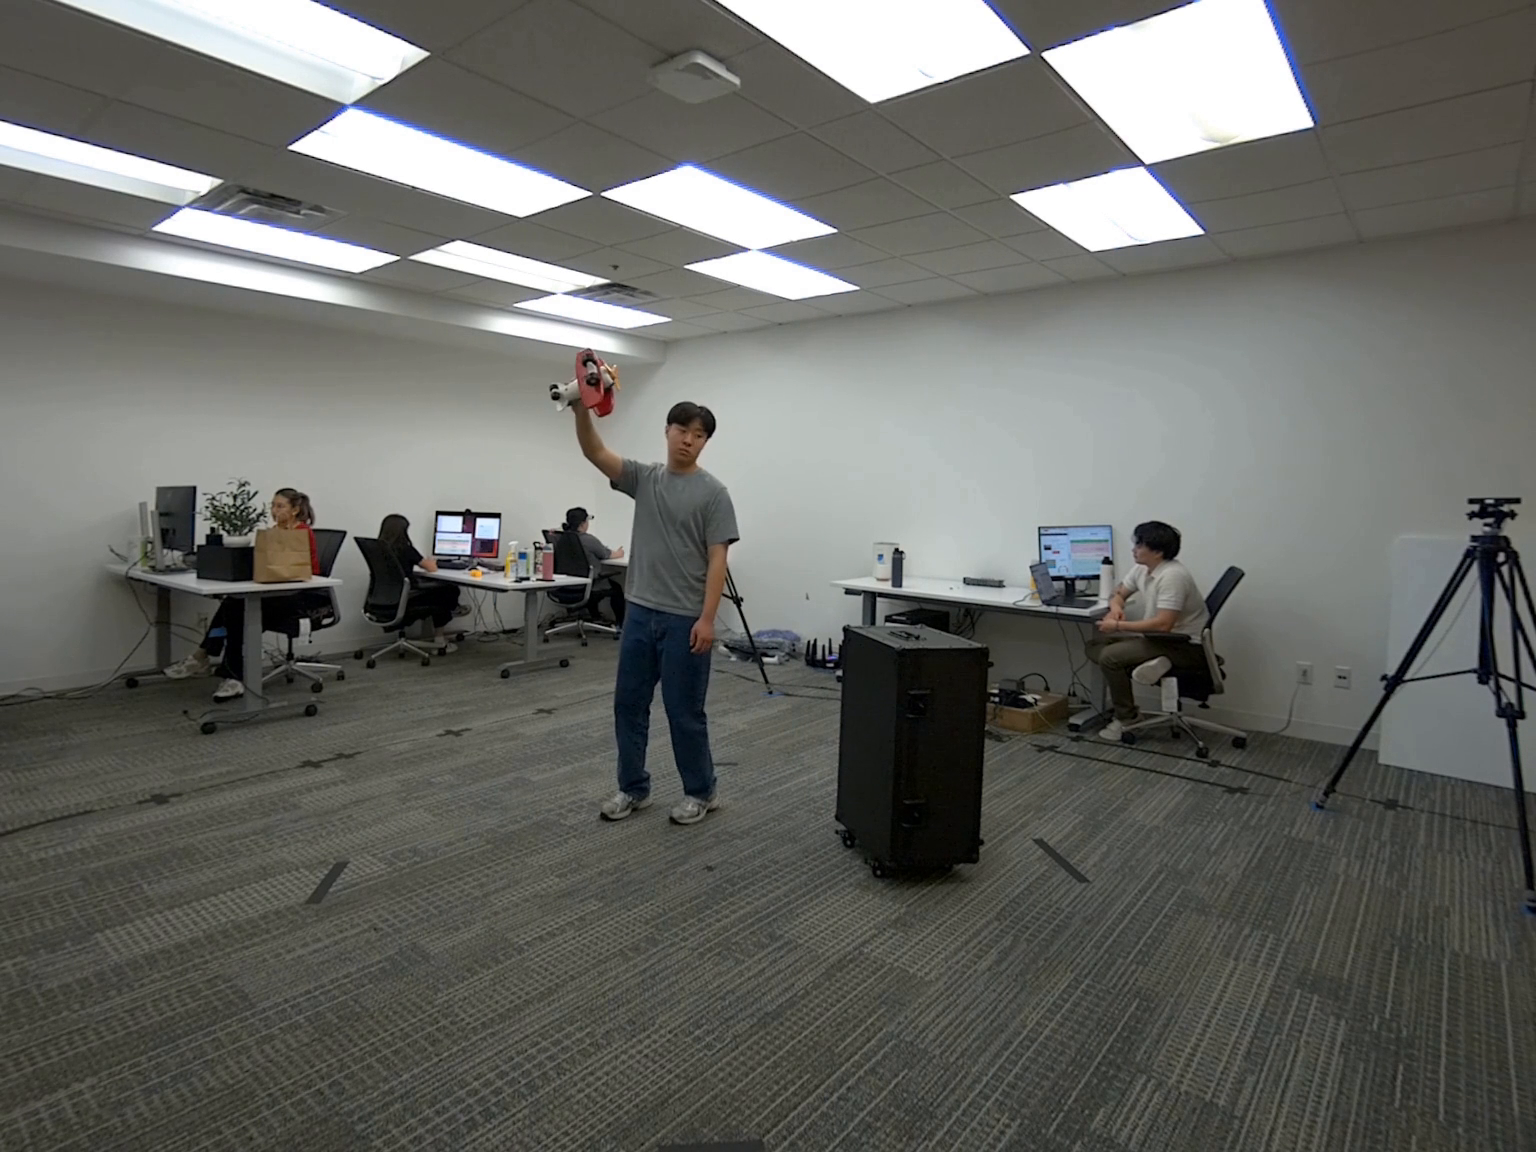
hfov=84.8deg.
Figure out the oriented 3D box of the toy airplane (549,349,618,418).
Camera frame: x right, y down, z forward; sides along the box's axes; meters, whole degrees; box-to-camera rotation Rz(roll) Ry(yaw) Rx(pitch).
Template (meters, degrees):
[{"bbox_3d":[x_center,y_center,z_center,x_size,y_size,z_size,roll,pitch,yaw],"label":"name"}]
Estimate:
[{"bbox_3d":[-0.689,-0.729,3.188,0.267,0.253,0.150,4,-9,35],"label":"toy airplane"}]
